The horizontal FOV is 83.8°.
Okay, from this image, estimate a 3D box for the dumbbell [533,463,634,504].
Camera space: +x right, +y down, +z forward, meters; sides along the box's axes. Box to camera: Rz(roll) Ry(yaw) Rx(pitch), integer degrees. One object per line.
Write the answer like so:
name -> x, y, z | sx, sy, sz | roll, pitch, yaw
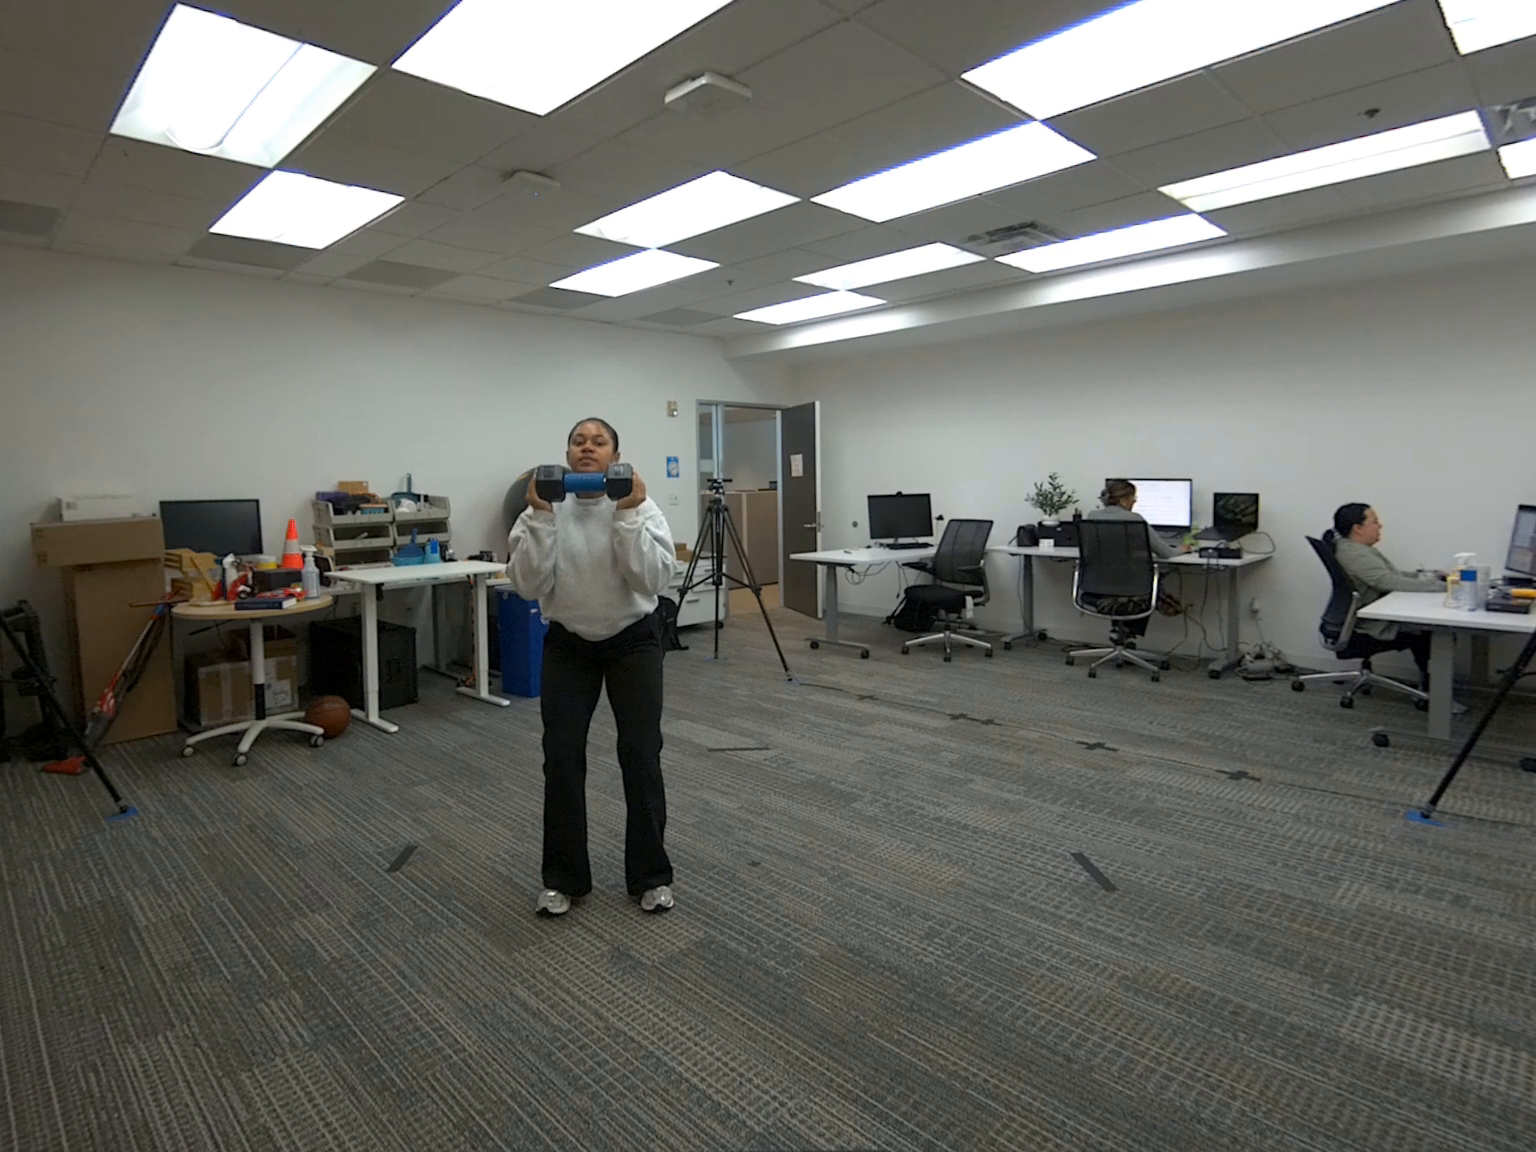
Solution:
dumbbell -> -0.564, -0.268, 2.628 | 0.293, 0.126, 0.106 | -1, -38, -2
